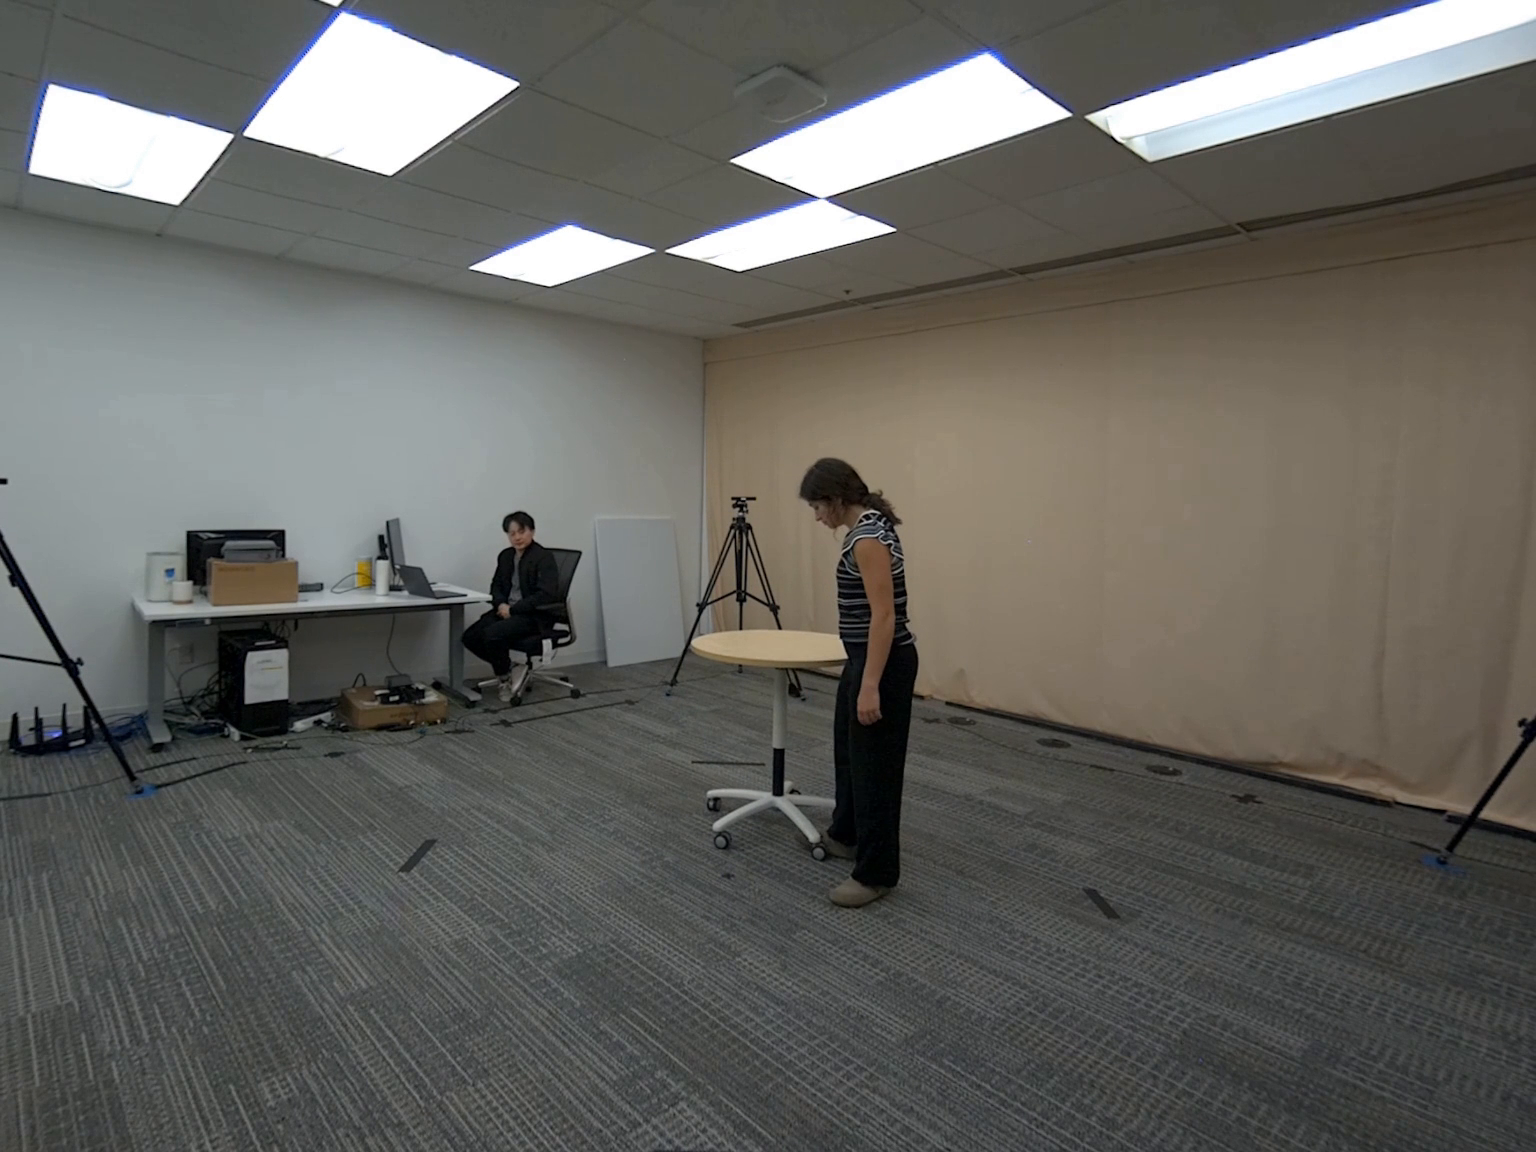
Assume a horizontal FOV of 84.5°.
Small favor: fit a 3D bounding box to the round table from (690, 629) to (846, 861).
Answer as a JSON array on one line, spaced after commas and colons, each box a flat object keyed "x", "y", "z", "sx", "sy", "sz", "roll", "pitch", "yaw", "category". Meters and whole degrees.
[{"x": 0.044, "y": 0.676, "z": 3.575, "sx": 0.784, "sy": 0.785, "sz": 0.787, "roll": 2, "pitch": 3, "yaw": -1, "category": "round table"}]
